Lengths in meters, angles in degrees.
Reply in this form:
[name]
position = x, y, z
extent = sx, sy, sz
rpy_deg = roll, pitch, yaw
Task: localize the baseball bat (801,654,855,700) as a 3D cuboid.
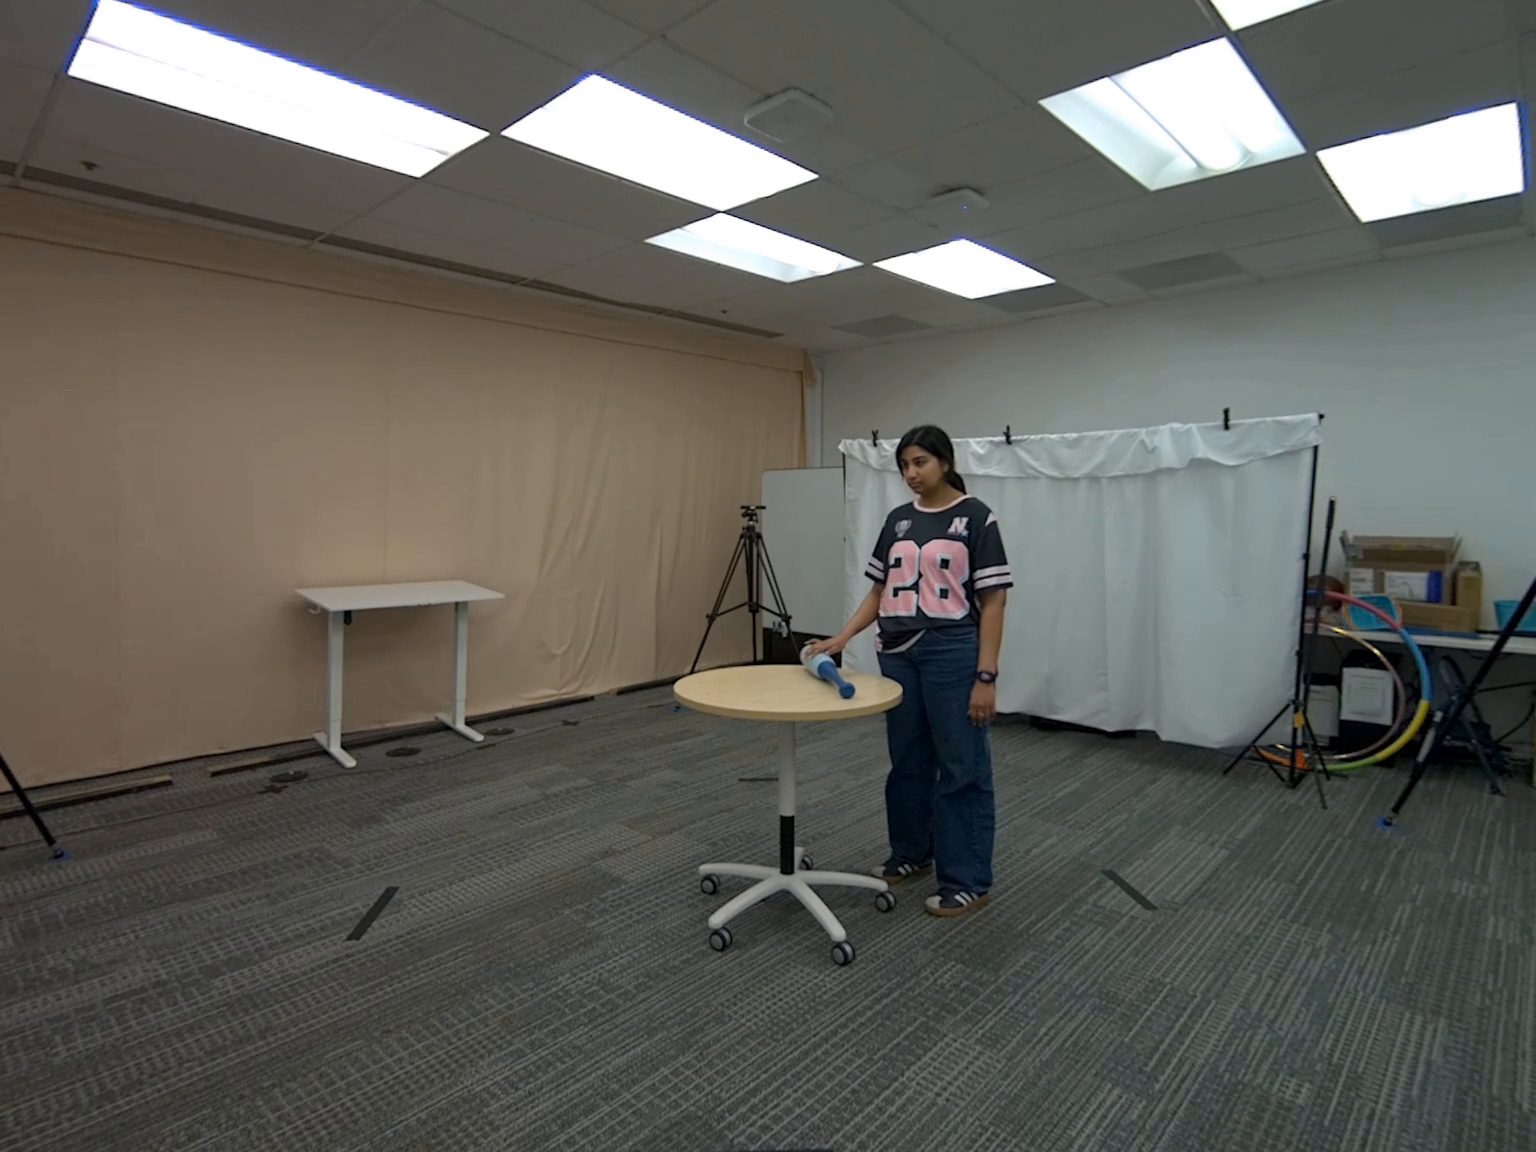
[baseball bat]
position = 0.212, 0.332, 2.890
extent = 0.088, 0.089, 0.549
rpy_deg = -1, 6, -10
